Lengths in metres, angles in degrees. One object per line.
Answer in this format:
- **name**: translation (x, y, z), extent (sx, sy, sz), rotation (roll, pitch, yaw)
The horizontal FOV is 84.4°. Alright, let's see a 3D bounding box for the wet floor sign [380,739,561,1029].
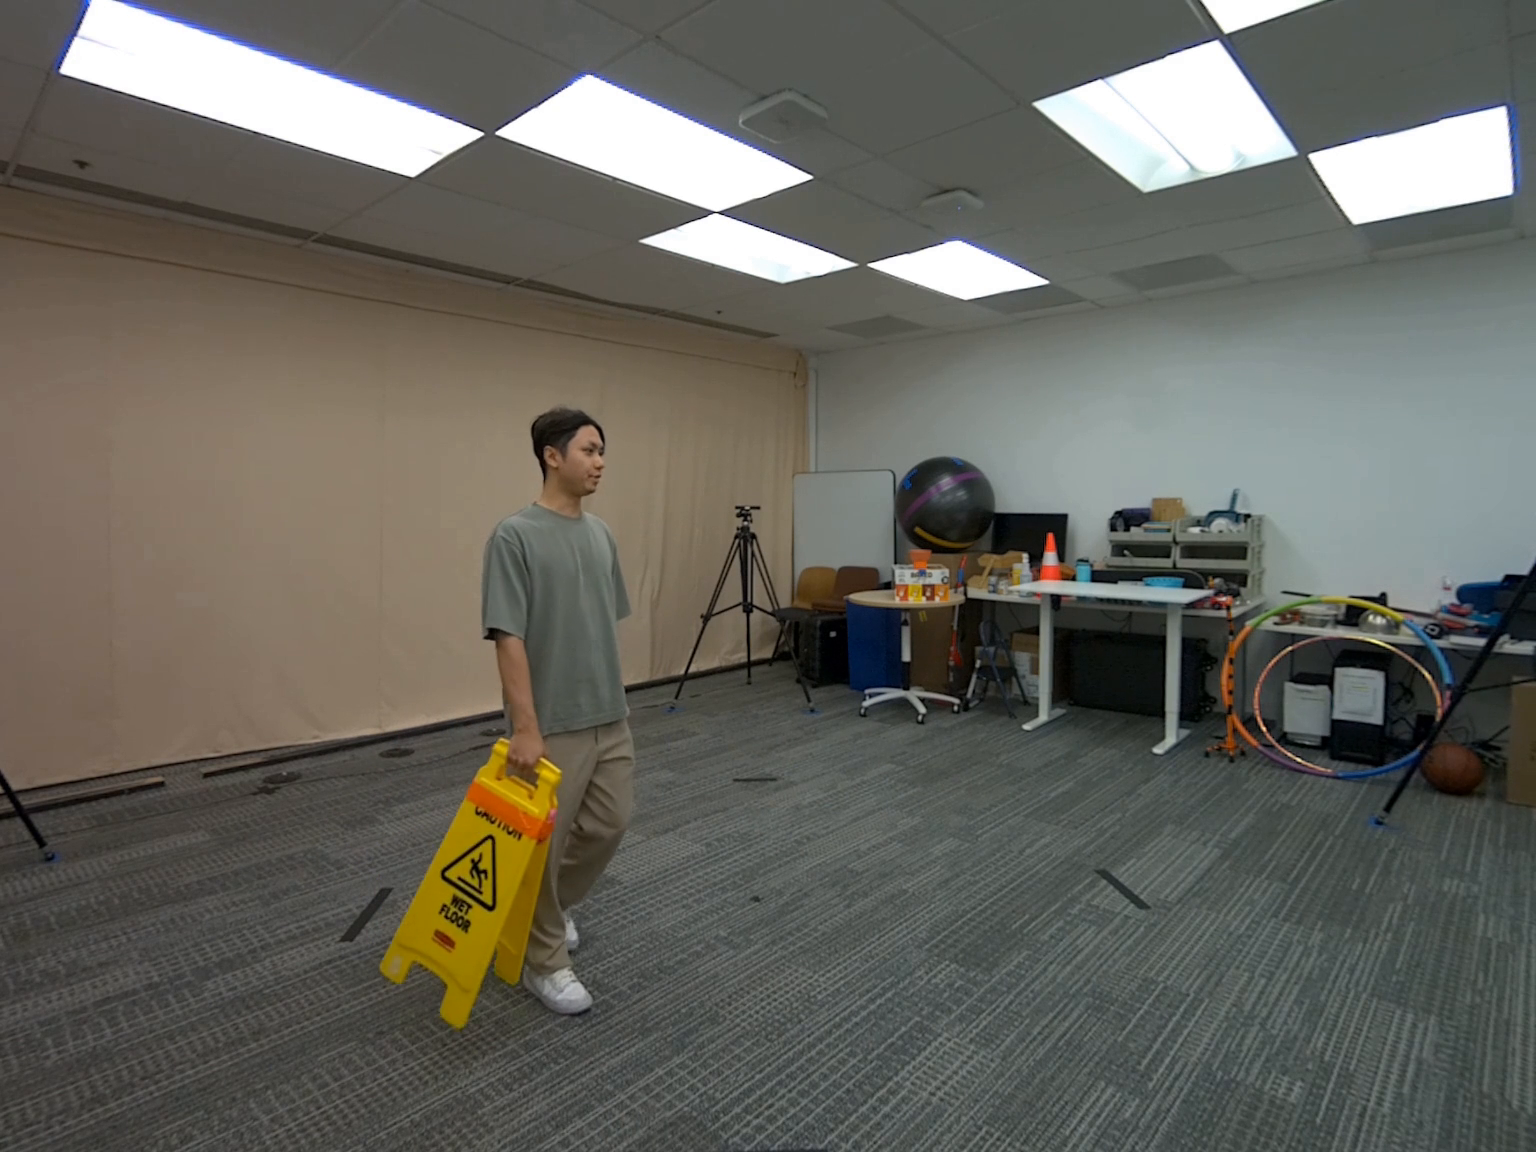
- **wet floor sign**: translation (-0.709, 0.754, 2.175), extent (0.289, 0.645, 0.283), rotation (22, 6, 19)
